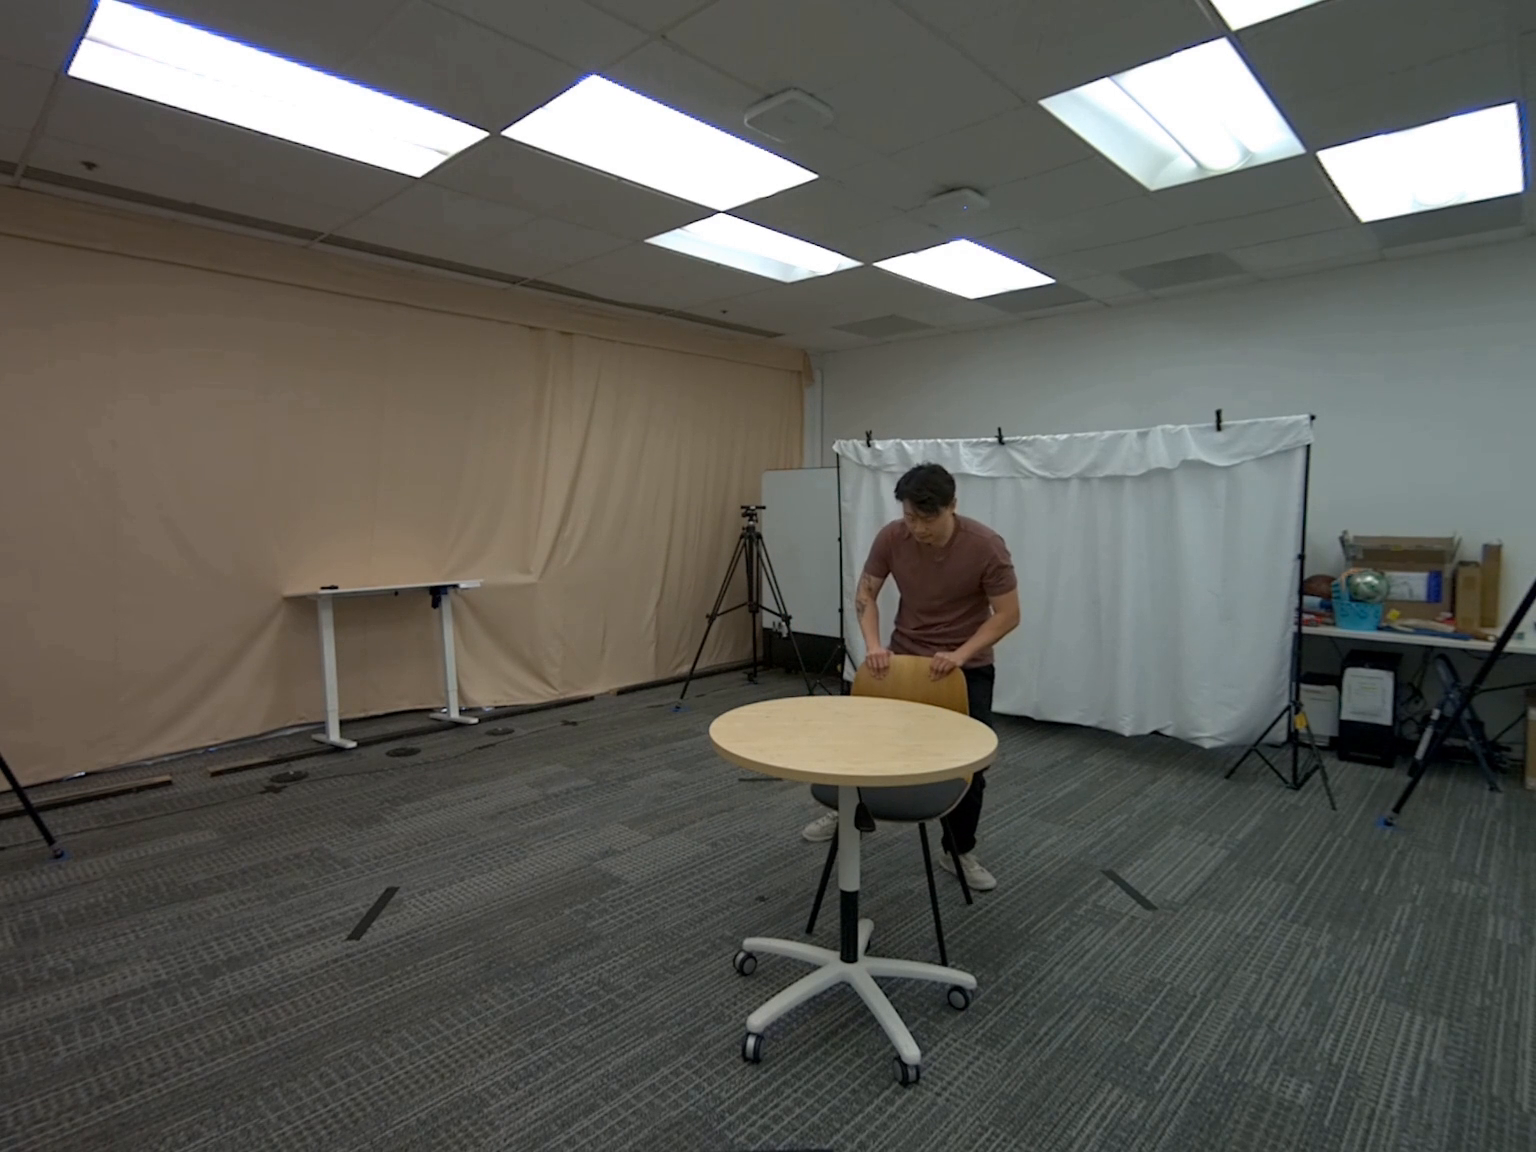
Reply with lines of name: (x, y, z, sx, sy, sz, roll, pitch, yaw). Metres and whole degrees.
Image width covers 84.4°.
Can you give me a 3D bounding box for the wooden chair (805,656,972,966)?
wooden chair: (0.414, 0.729, 2.797, 0.490, 0.877, 0.510, 2, 0, 25)
